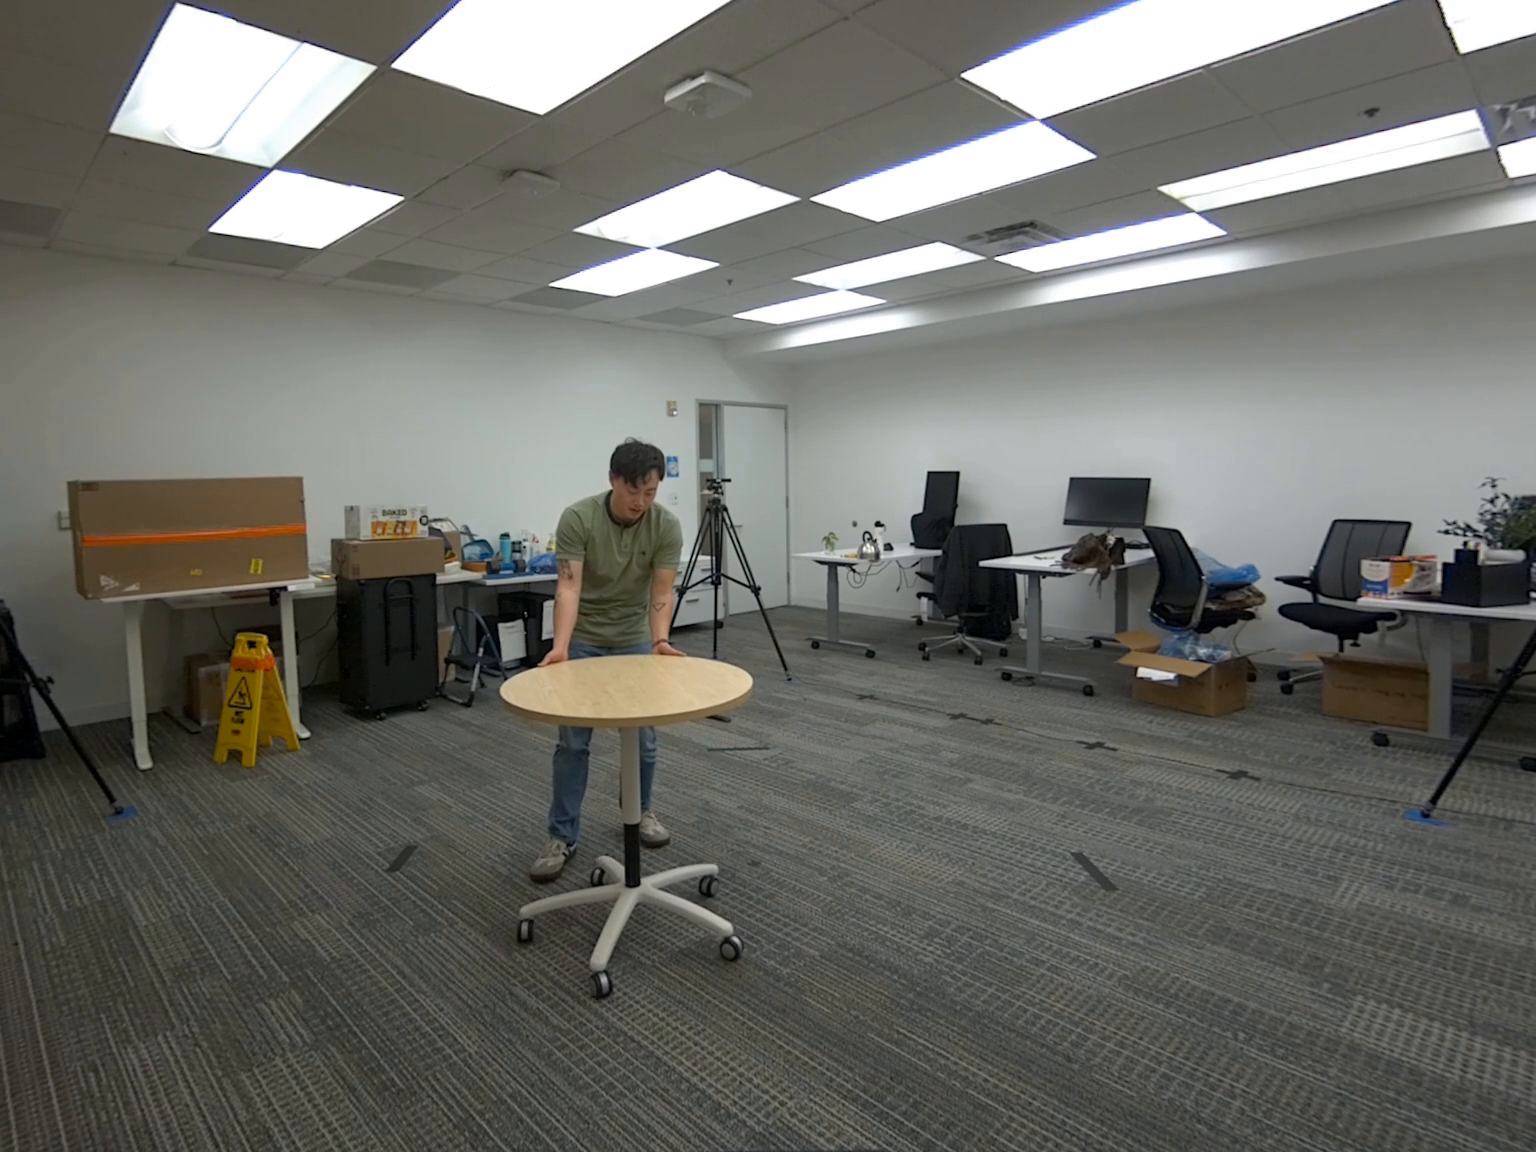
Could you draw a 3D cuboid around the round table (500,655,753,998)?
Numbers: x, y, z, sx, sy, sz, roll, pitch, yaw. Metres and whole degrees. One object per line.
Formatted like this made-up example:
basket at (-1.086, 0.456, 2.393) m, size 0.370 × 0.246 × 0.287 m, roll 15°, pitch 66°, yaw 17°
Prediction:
round table at (-0.417, 0.718, 2.637) m, size 0.763 × 0.790 × 0.768 m, roll -1°, pitch 6°, yaw -2°
